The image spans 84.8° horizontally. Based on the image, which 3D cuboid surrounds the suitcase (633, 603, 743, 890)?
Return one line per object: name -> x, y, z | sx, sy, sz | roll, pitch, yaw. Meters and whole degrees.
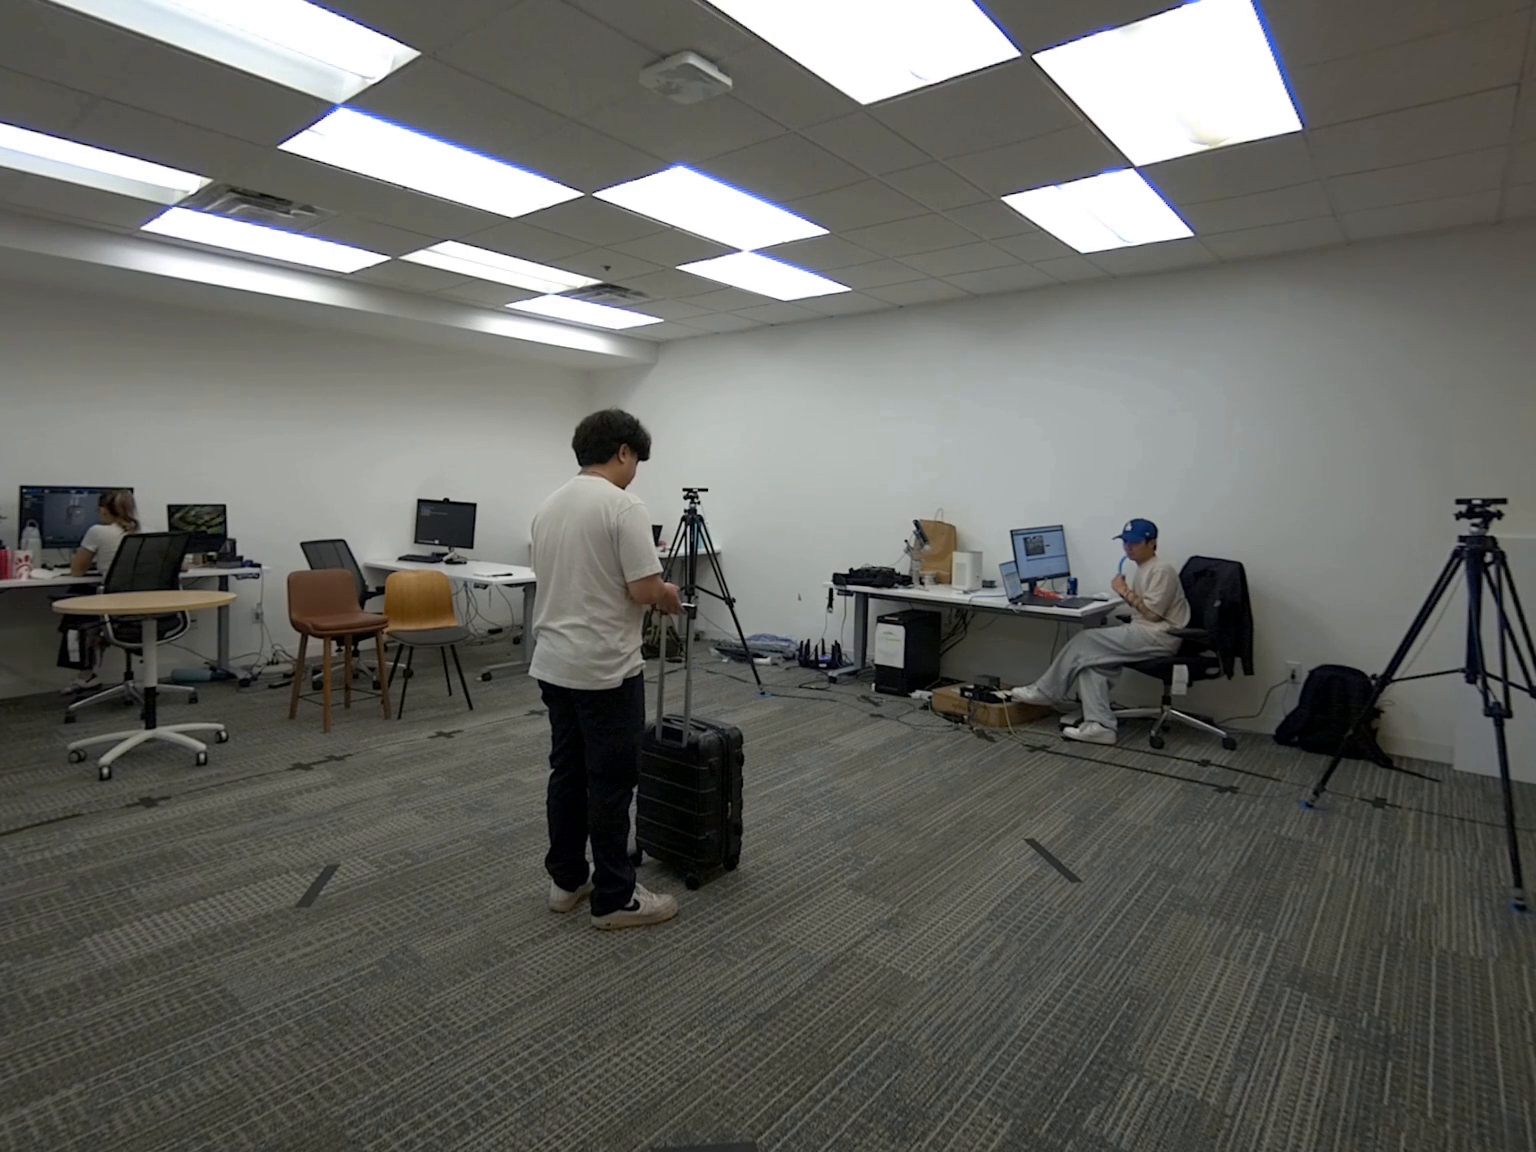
suitcase -> -0.284, 0.590, 3.123 | 0.397, 0.978, 0.249 | 4, 1, 39
